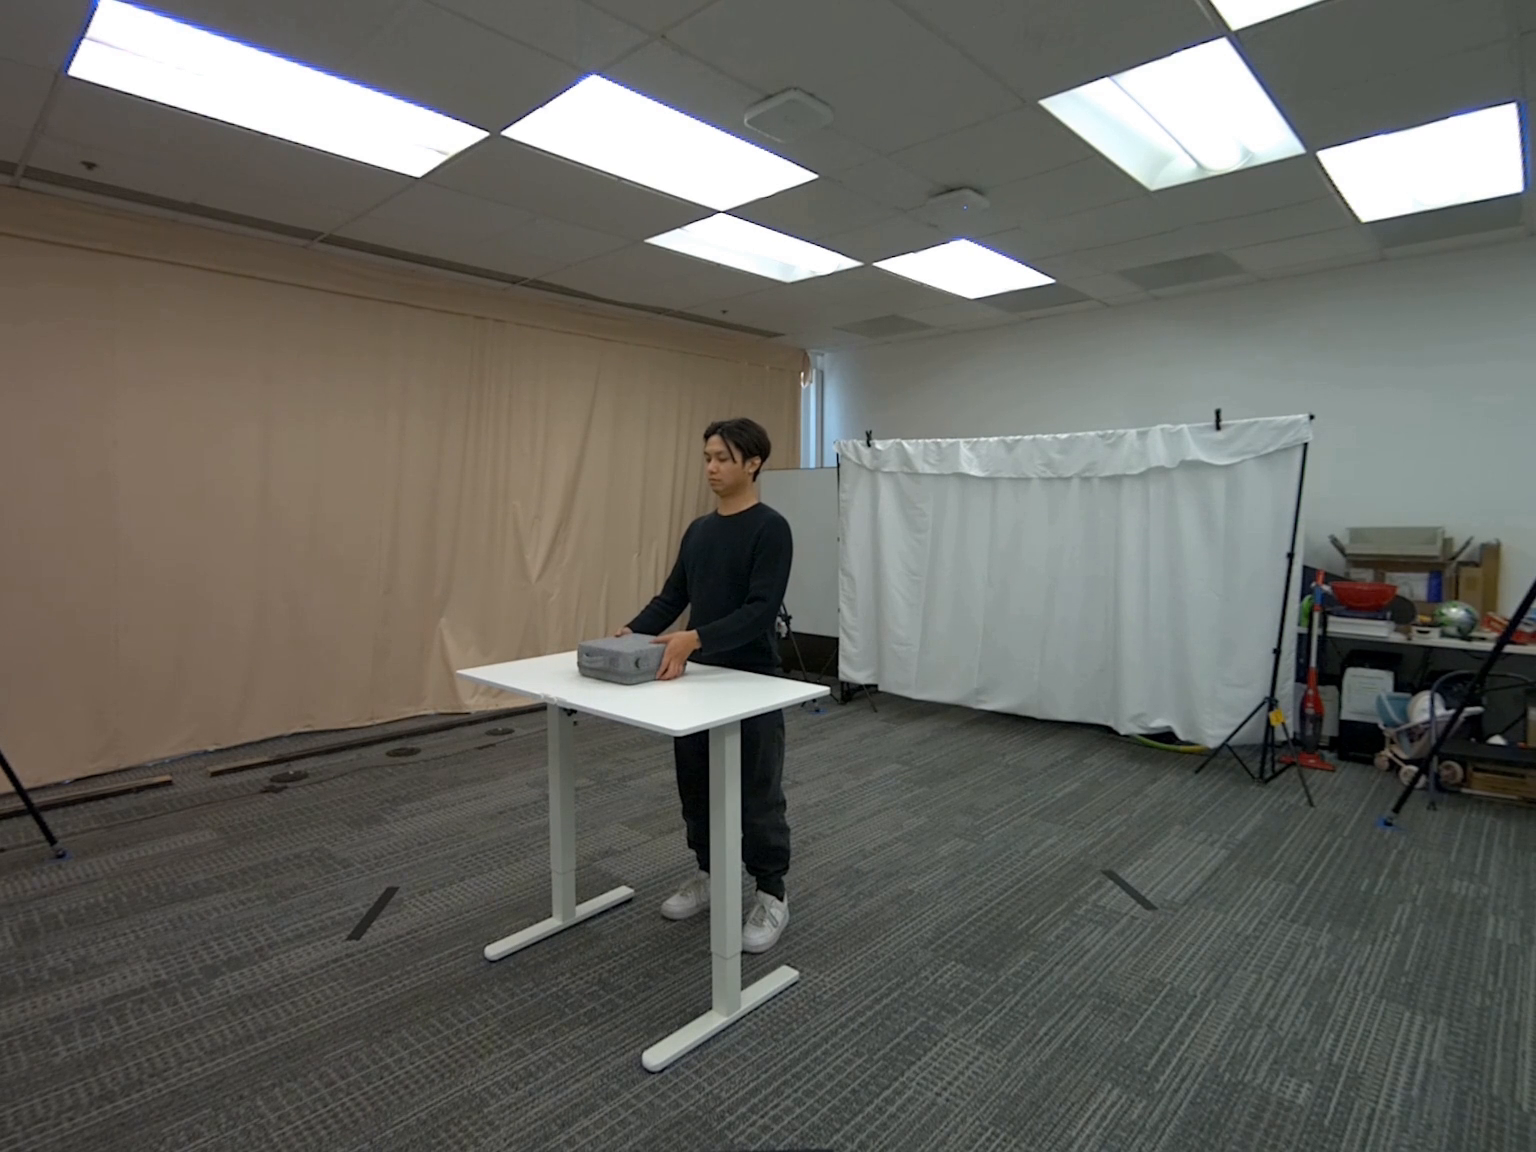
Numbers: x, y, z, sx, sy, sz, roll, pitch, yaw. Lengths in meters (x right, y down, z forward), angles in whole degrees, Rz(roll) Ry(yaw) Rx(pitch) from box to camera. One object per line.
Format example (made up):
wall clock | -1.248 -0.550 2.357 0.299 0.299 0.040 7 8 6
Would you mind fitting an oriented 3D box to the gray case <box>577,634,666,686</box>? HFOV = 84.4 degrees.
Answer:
gray case | -0.419 0.249 2.550 0.265 0.104 0.253 6 8 39
